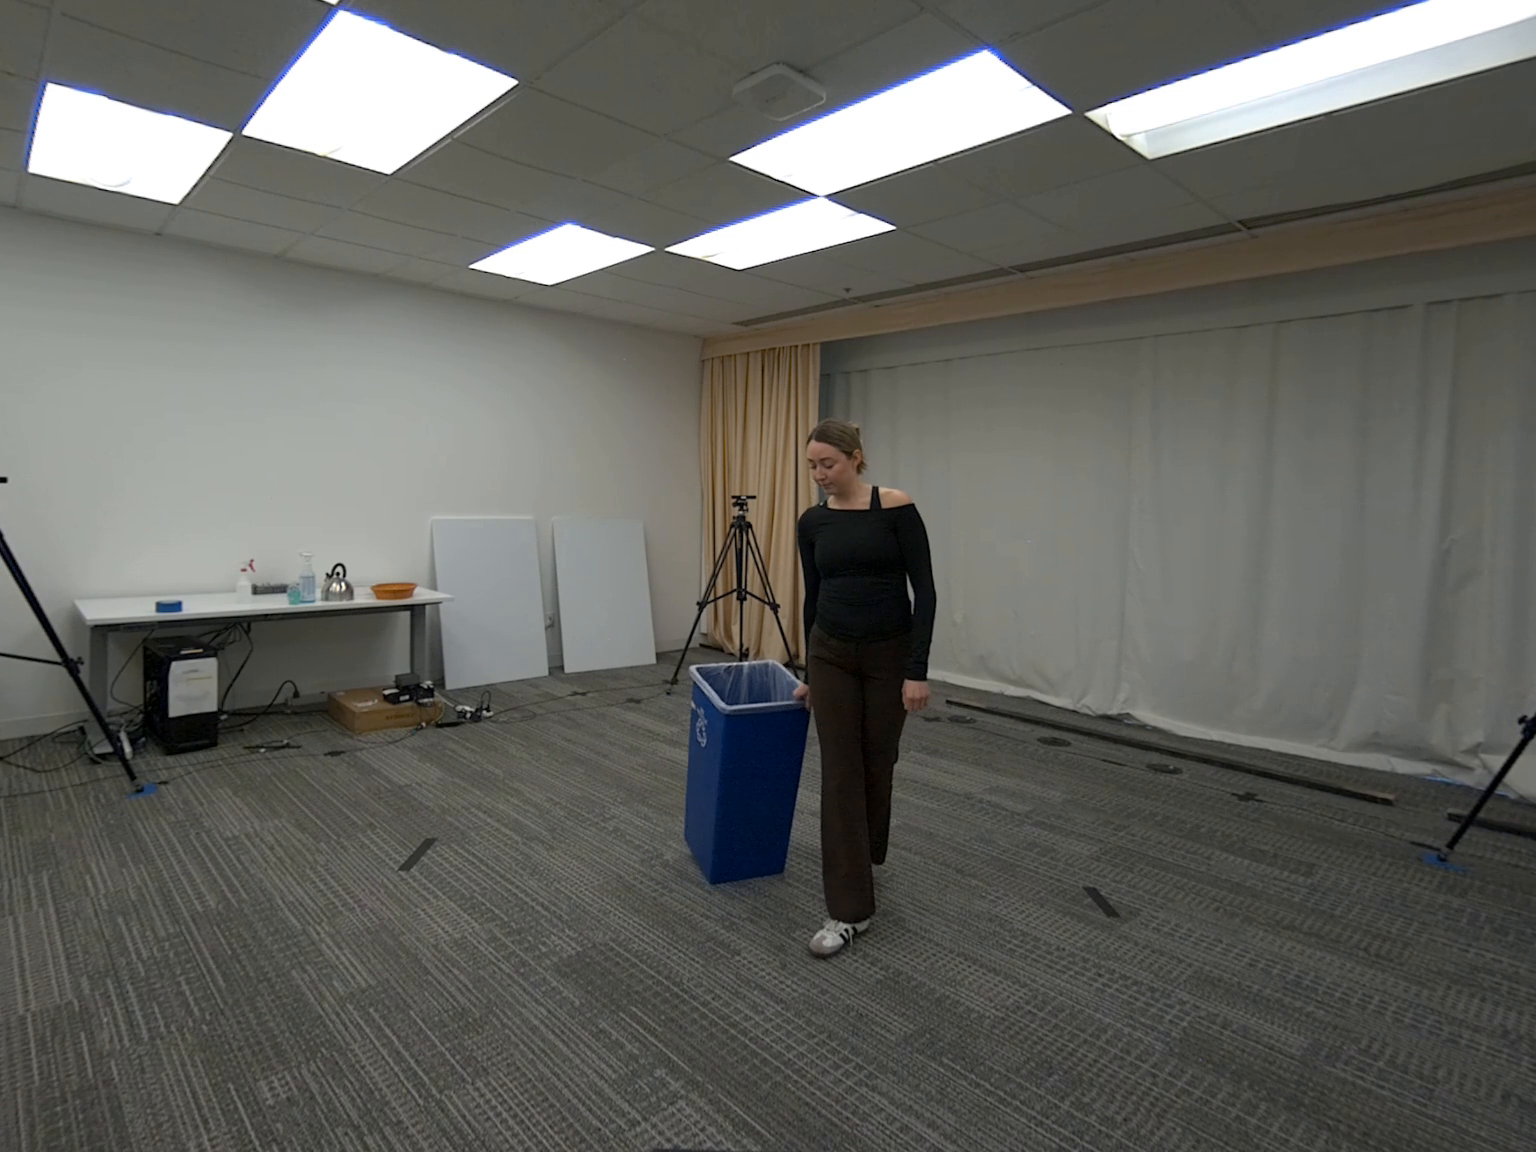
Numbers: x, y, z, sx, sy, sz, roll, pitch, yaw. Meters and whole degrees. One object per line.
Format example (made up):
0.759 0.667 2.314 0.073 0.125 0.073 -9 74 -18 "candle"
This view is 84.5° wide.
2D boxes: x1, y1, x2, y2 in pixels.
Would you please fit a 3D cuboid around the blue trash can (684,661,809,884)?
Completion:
-0.098 0.722 3.110 0.371 0.707 0.384 -1 16 -25 "blue trash can"
